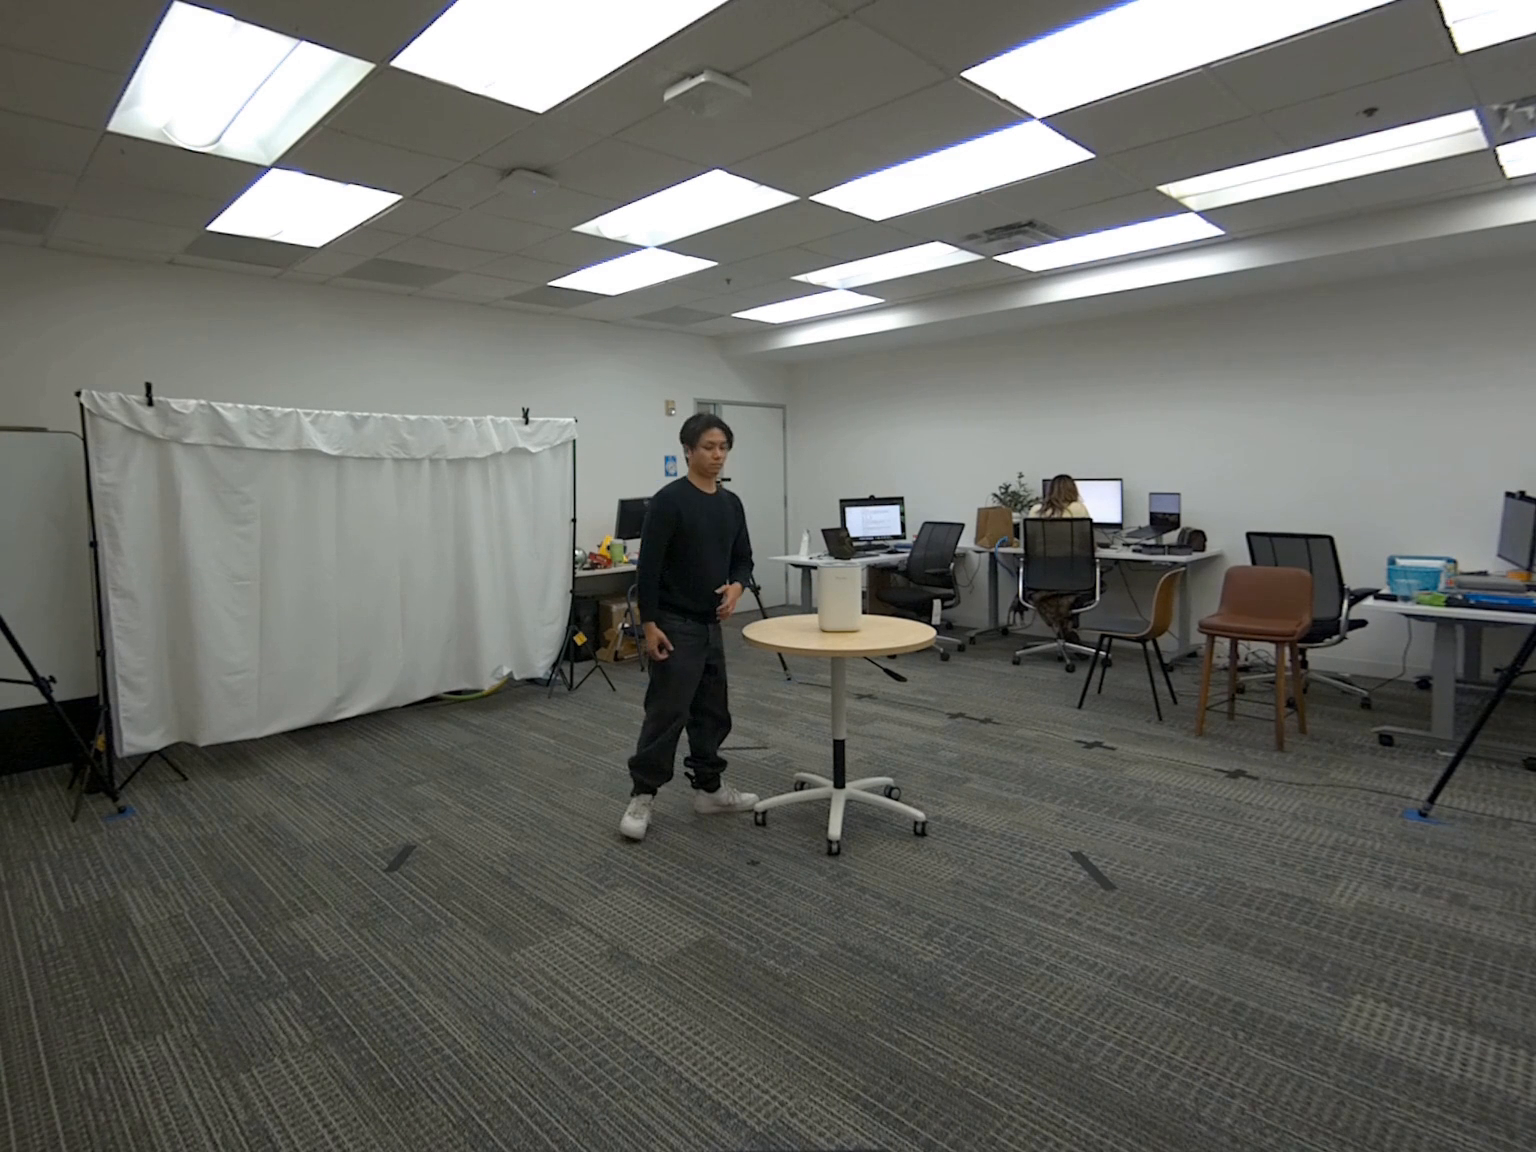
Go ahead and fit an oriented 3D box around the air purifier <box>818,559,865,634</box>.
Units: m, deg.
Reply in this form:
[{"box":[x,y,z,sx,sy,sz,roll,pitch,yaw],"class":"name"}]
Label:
[{"box":[0.288,0.076,3.415,0.172,0.264,0.171,0,6,4],"class":"air purifier"}]
